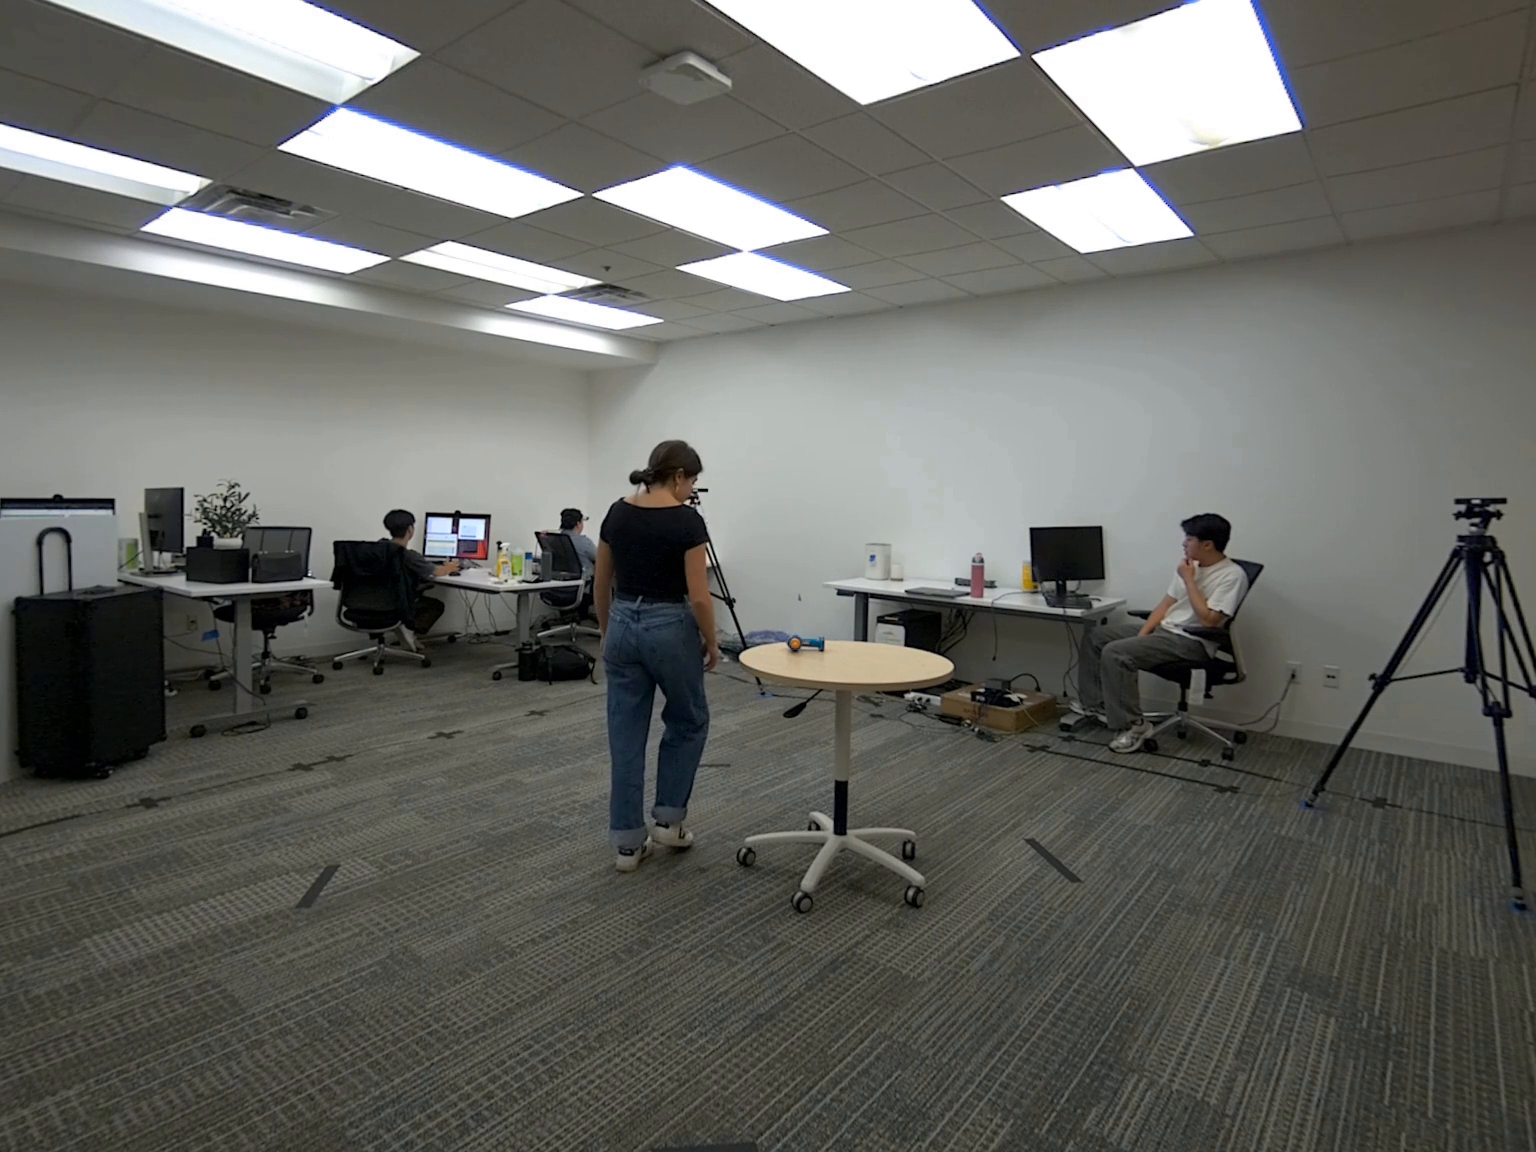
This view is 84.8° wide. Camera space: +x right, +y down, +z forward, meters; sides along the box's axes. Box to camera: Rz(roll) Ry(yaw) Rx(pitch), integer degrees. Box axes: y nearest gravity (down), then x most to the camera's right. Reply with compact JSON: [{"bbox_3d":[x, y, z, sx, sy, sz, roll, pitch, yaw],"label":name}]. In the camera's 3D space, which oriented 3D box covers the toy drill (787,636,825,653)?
[{"bbox_3d":[0.143,0.250,3.211,0.147,0.061,0.168,3,-2,3],"label":"toy drill"}]
